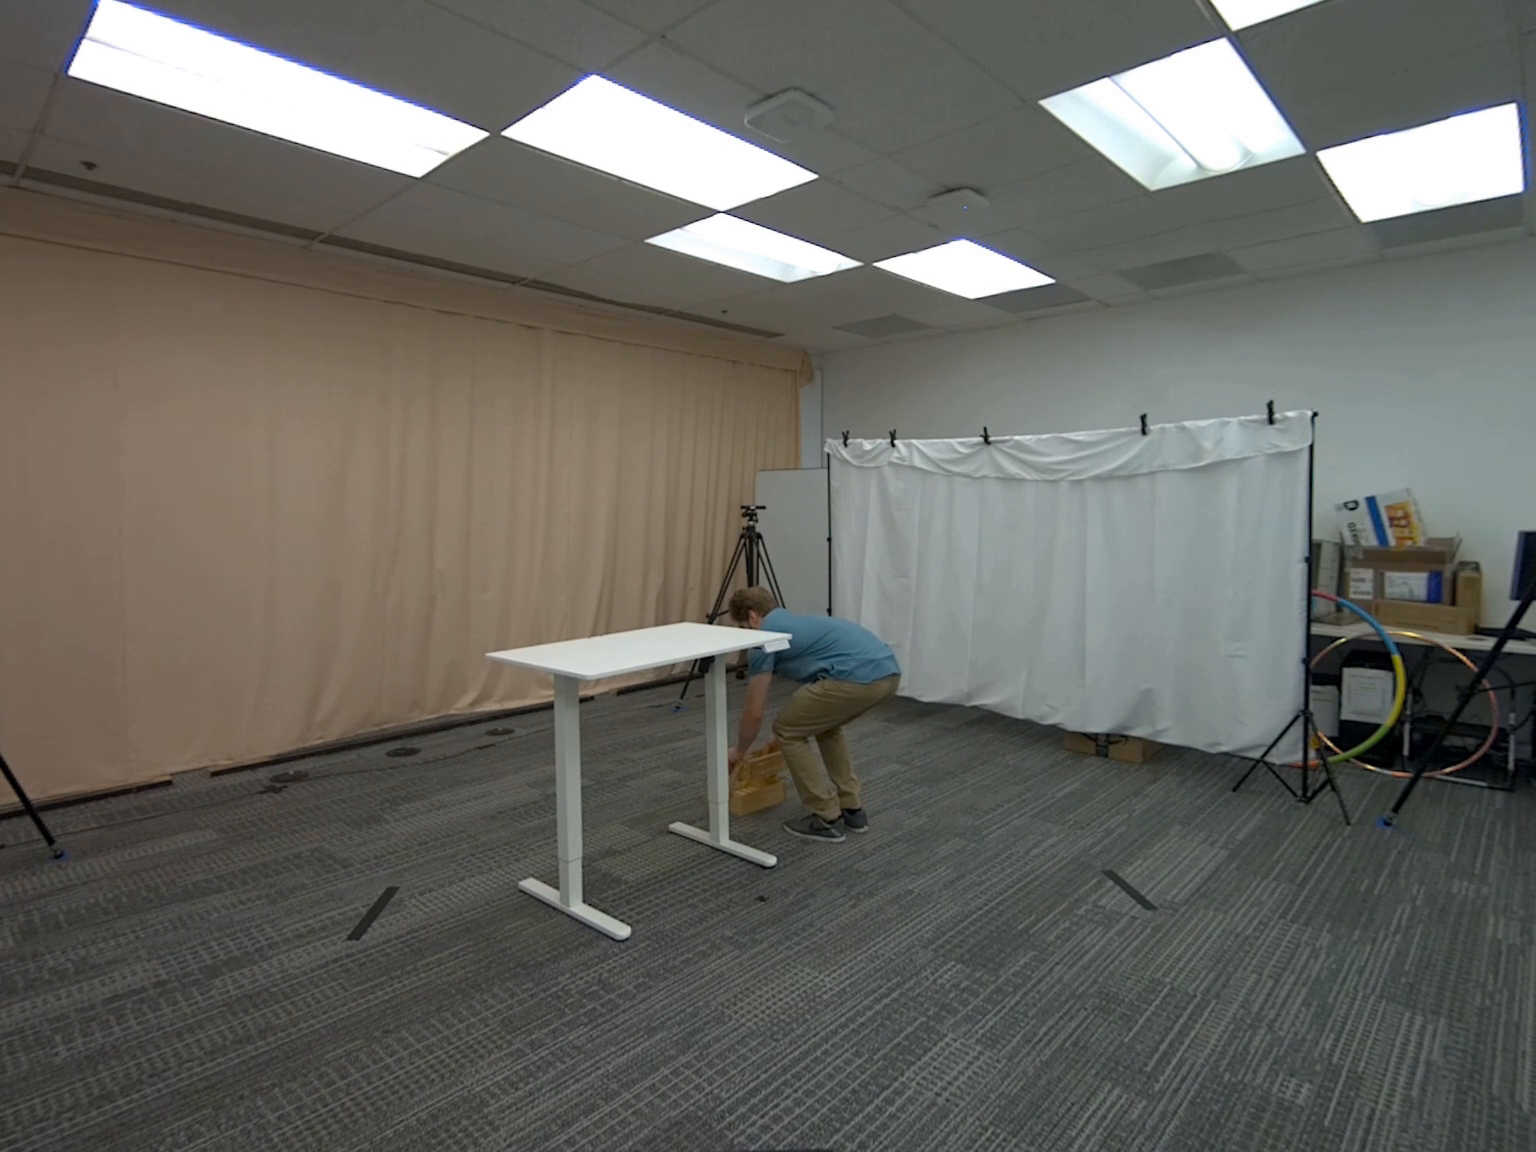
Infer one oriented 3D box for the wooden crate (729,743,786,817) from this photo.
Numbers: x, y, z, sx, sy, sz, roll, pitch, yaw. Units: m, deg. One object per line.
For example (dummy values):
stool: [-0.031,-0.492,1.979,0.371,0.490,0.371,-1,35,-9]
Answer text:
wooden crate: [-0.098,0.931,3.952,0.312,0.272,0.314,4,6,44]
